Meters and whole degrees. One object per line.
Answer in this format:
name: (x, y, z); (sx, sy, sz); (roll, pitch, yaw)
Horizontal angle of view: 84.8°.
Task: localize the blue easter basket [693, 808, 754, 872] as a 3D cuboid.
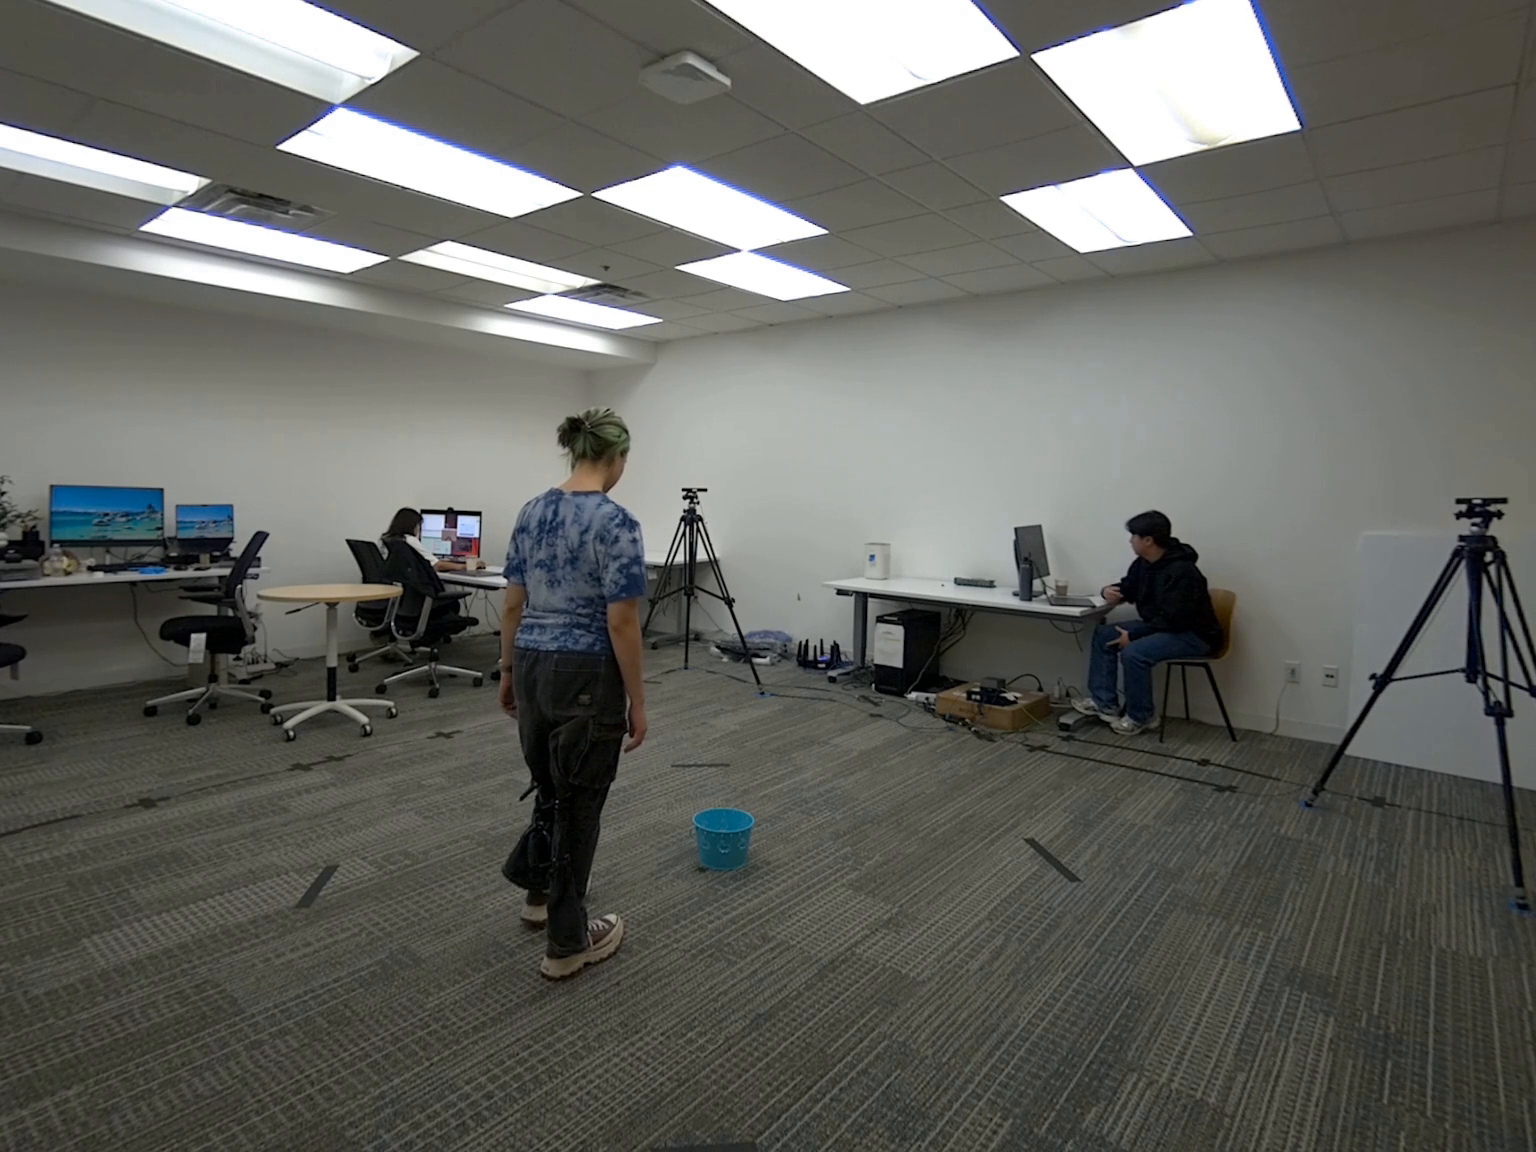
blue easter basket: (-0.175, 0.982, 3.189); (0.243, 0.155, 0.245); (0, 5, -2)
